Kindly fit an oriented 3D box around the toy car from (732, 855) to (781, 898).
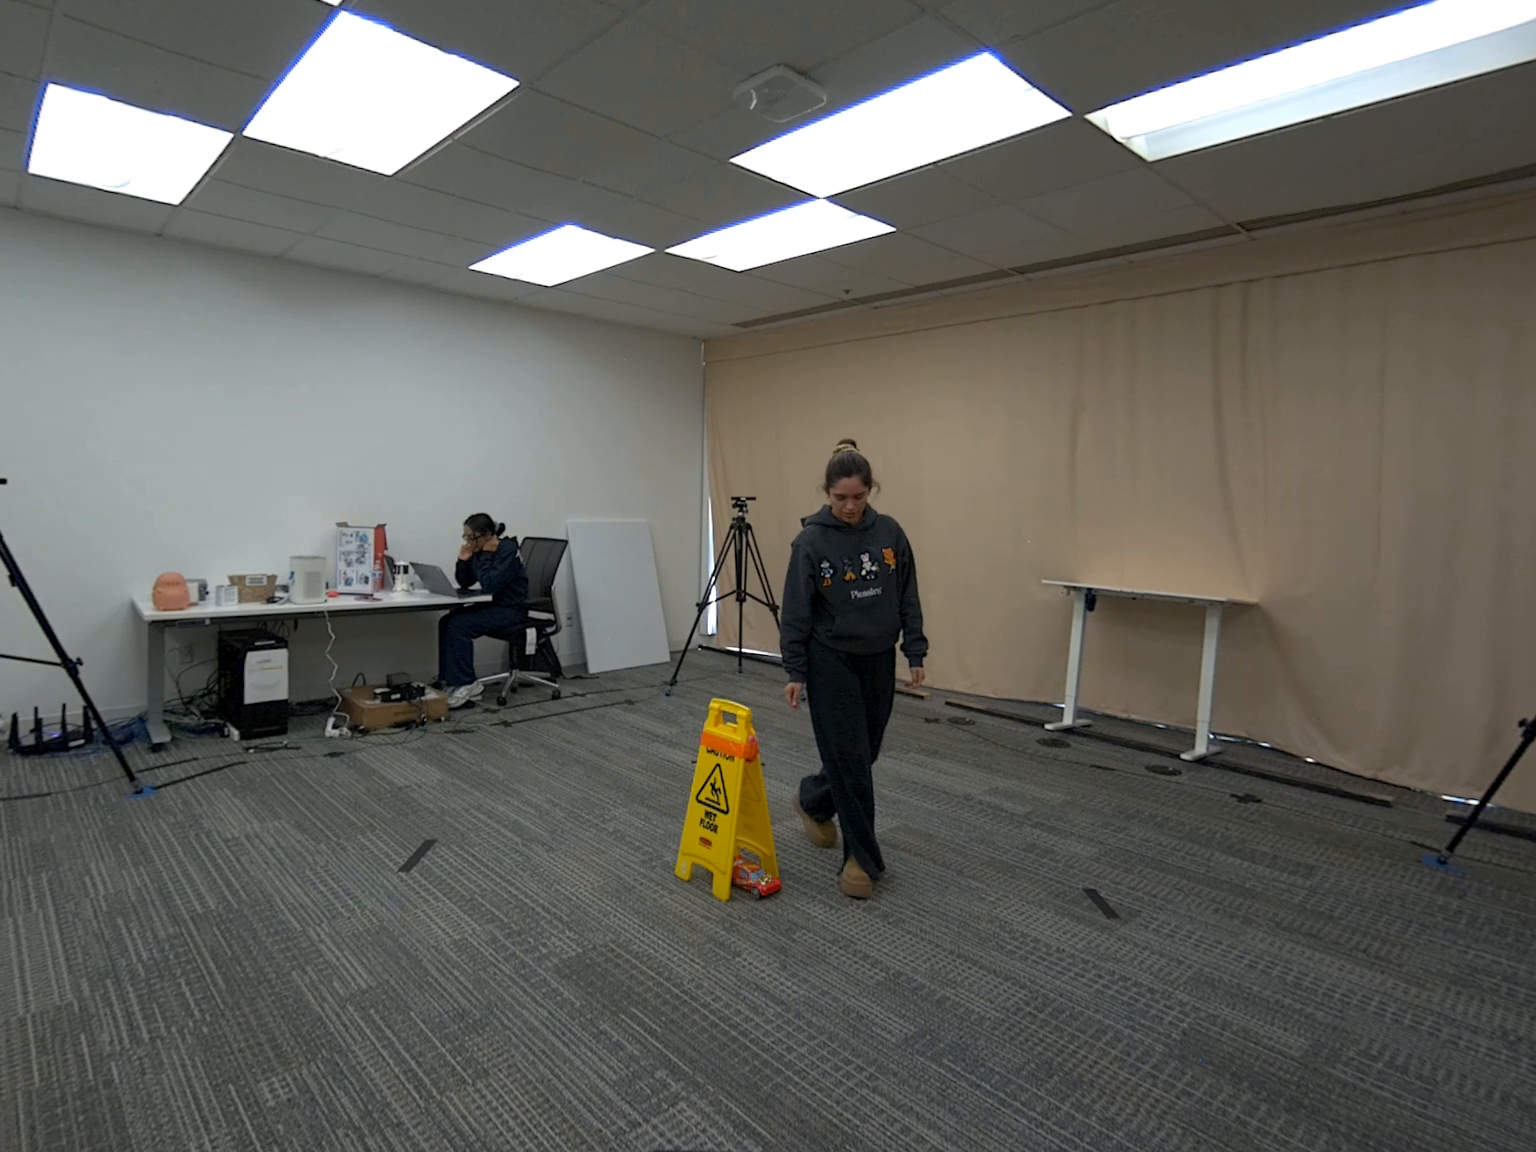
[{"bbox_3d":[-0.092,1.090,3.026,0.127,0.082,0.262,-3,16,-43],"label":"toy car"}]
